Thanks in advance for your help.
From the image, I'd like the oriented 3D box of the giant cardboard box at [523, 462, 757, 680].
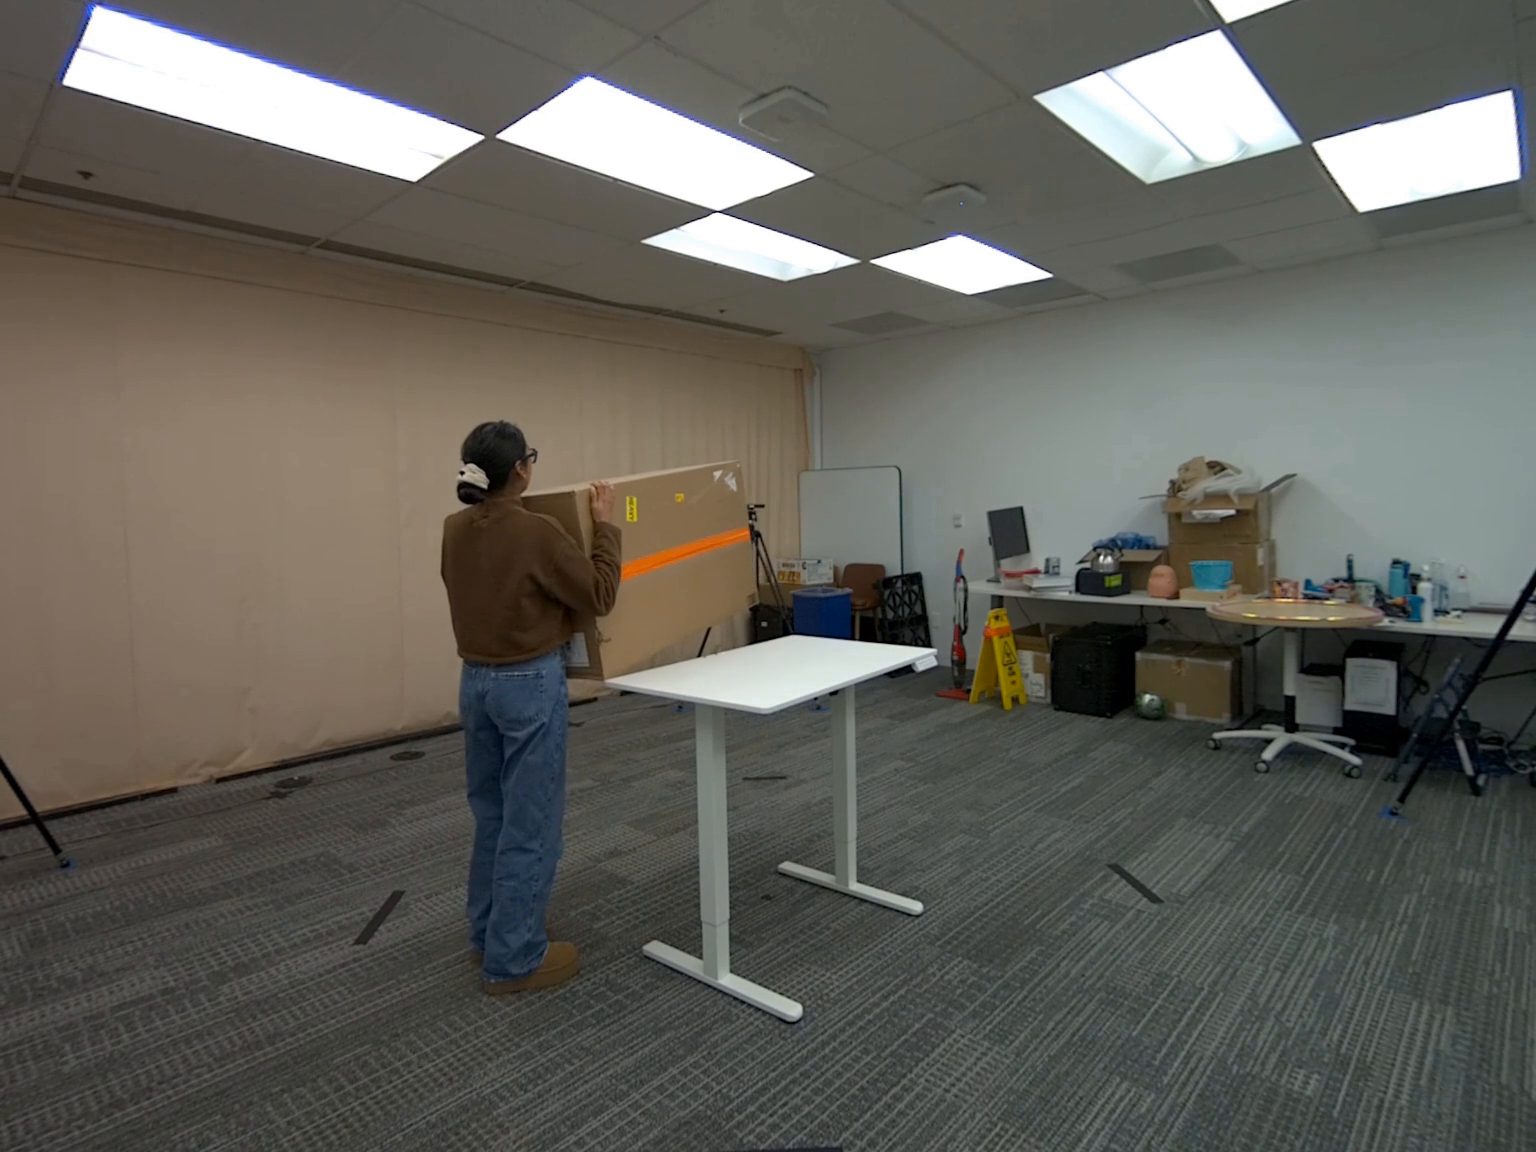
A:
[{"bbox_3d":[-0.471,-0.062,3.009,0.438,0.574,1.005,-4,10,29],"label":"giant cardboard box"}]
